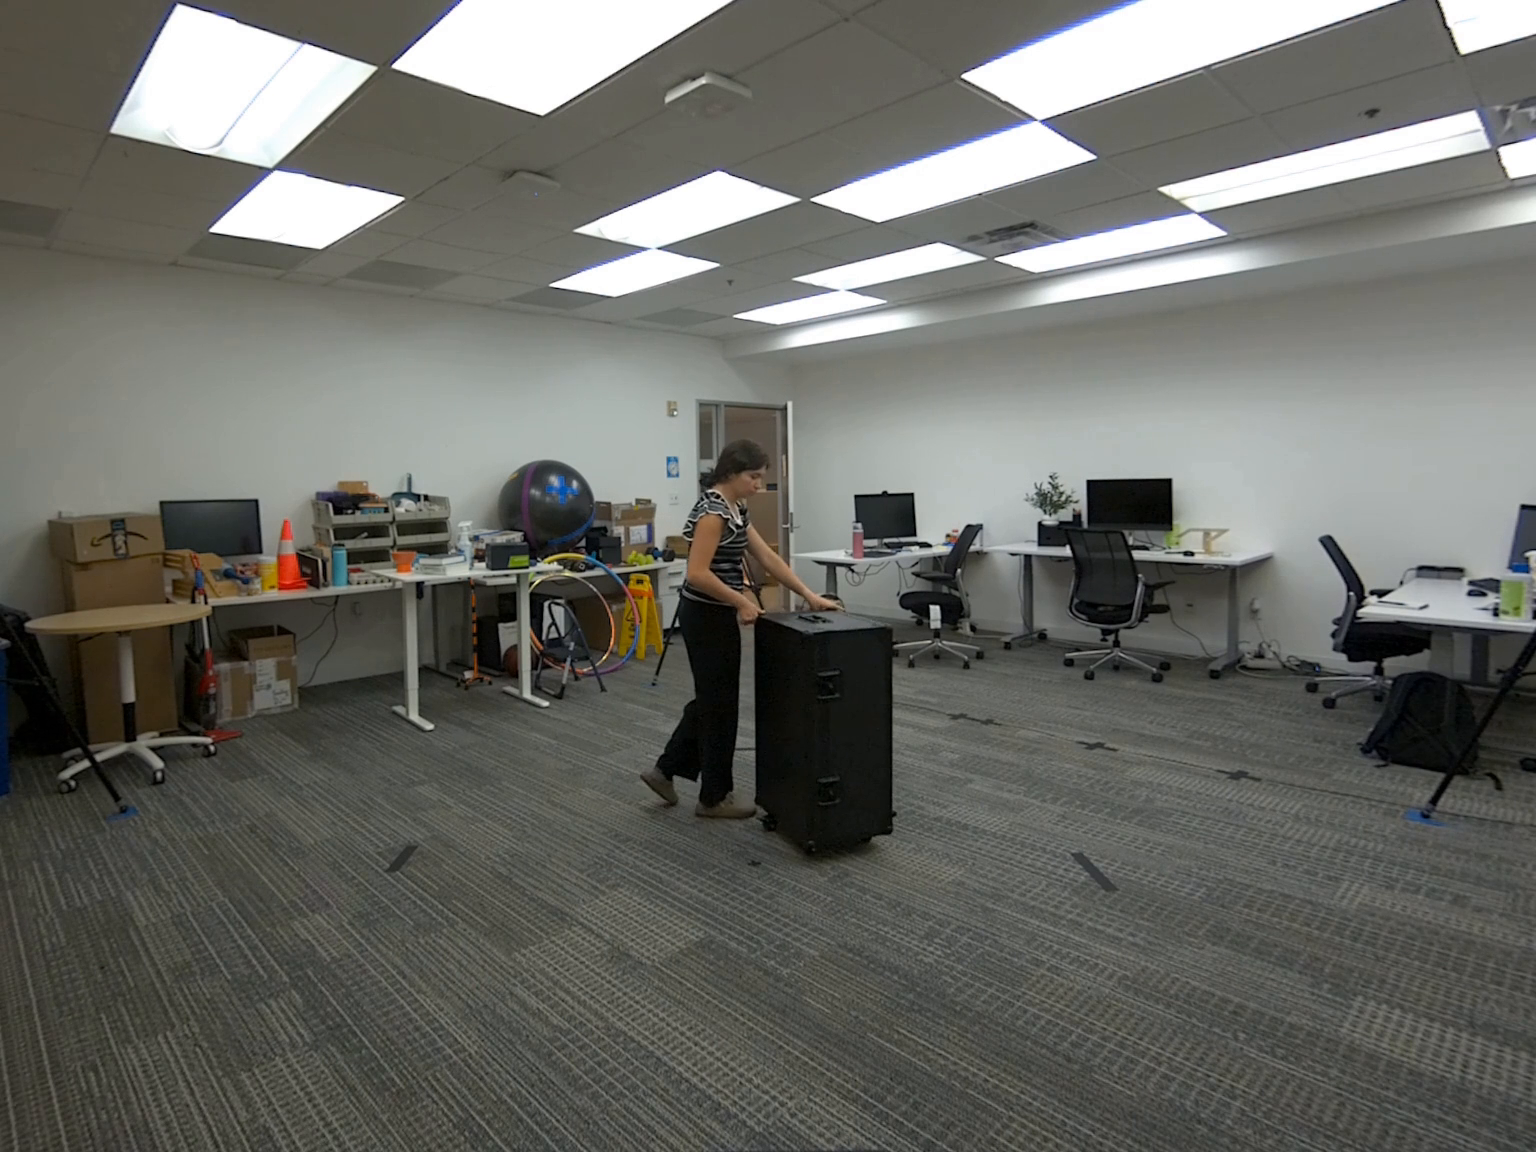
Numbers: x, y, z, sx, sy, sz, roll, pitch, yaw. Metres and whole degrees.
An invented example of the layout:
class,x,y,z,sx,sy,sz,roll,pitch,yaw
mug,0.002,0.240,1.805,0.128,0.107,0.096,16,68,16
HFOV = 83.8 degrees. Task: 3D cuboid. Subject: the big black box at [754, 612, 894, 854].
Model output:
class,x,y,z,sx,sy,sz,roll,pitch,yaw
big black box,0.214,0.592,3.323,0.388,0.859,0.533,-1,3,-24
